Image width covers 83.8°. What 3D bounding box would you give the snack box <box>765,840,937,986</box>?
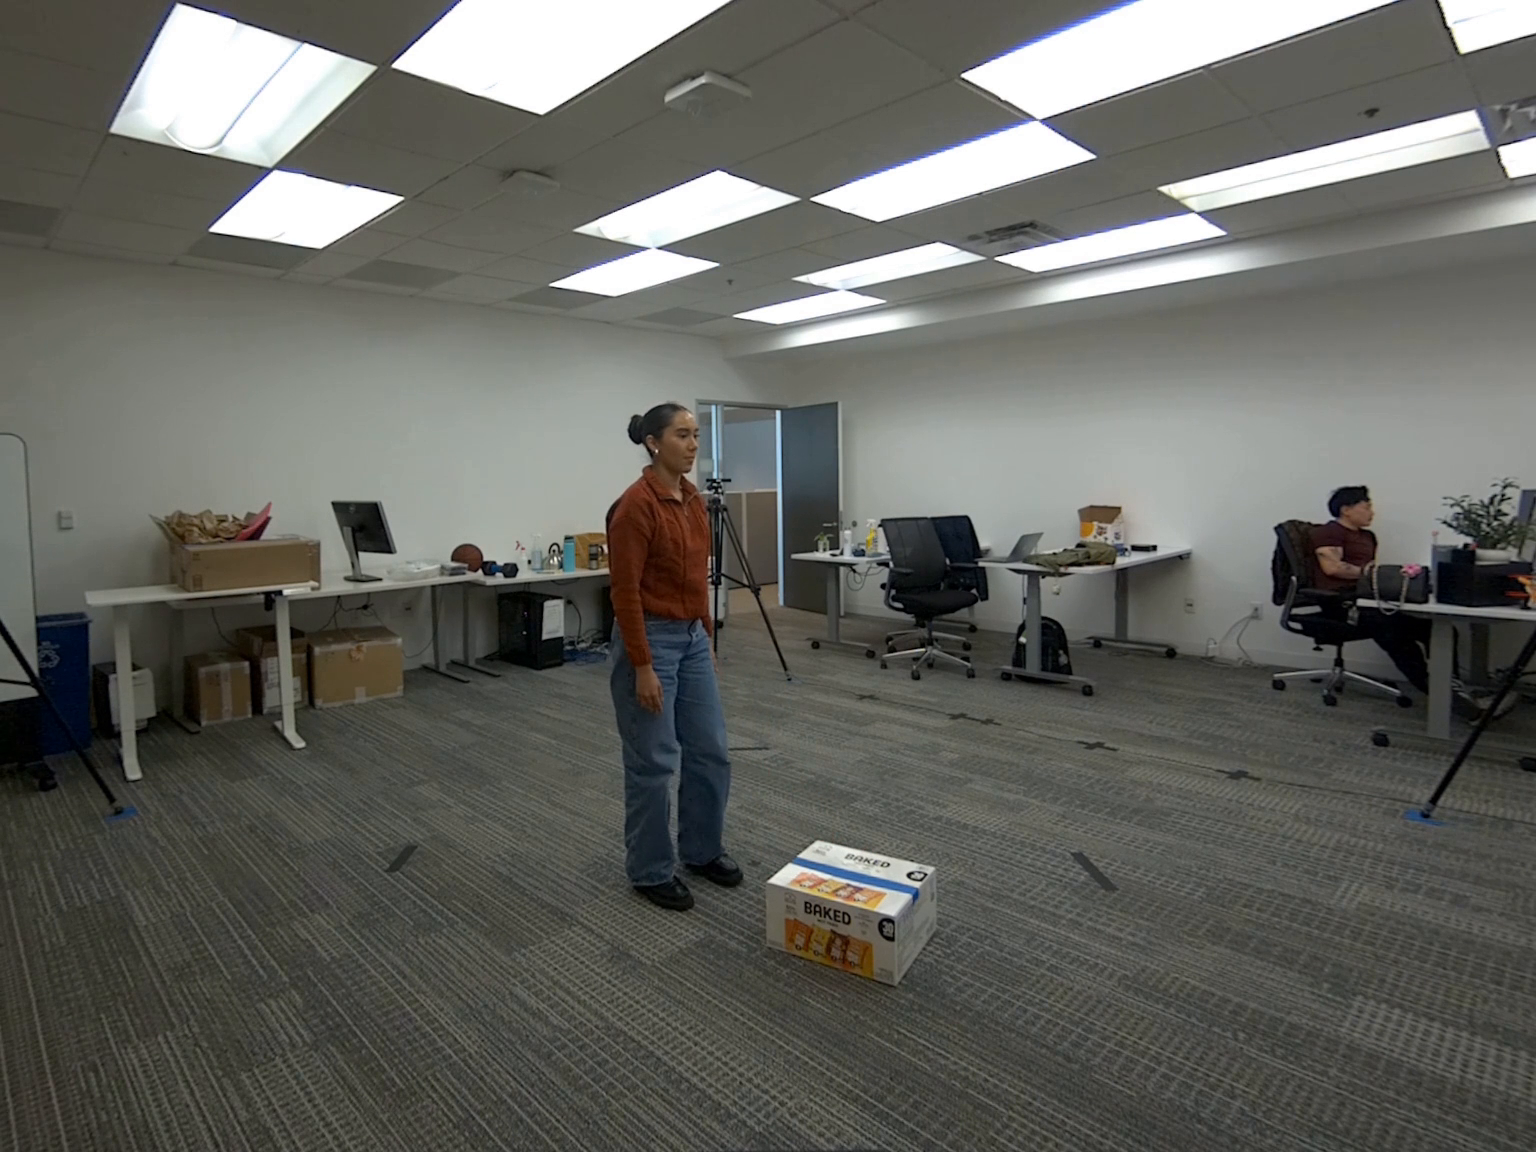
[{"bbox_3d":[0.255,0.995,2.572,0.416,0.205,0.333,3,7,31],"label":"snack box"}]
